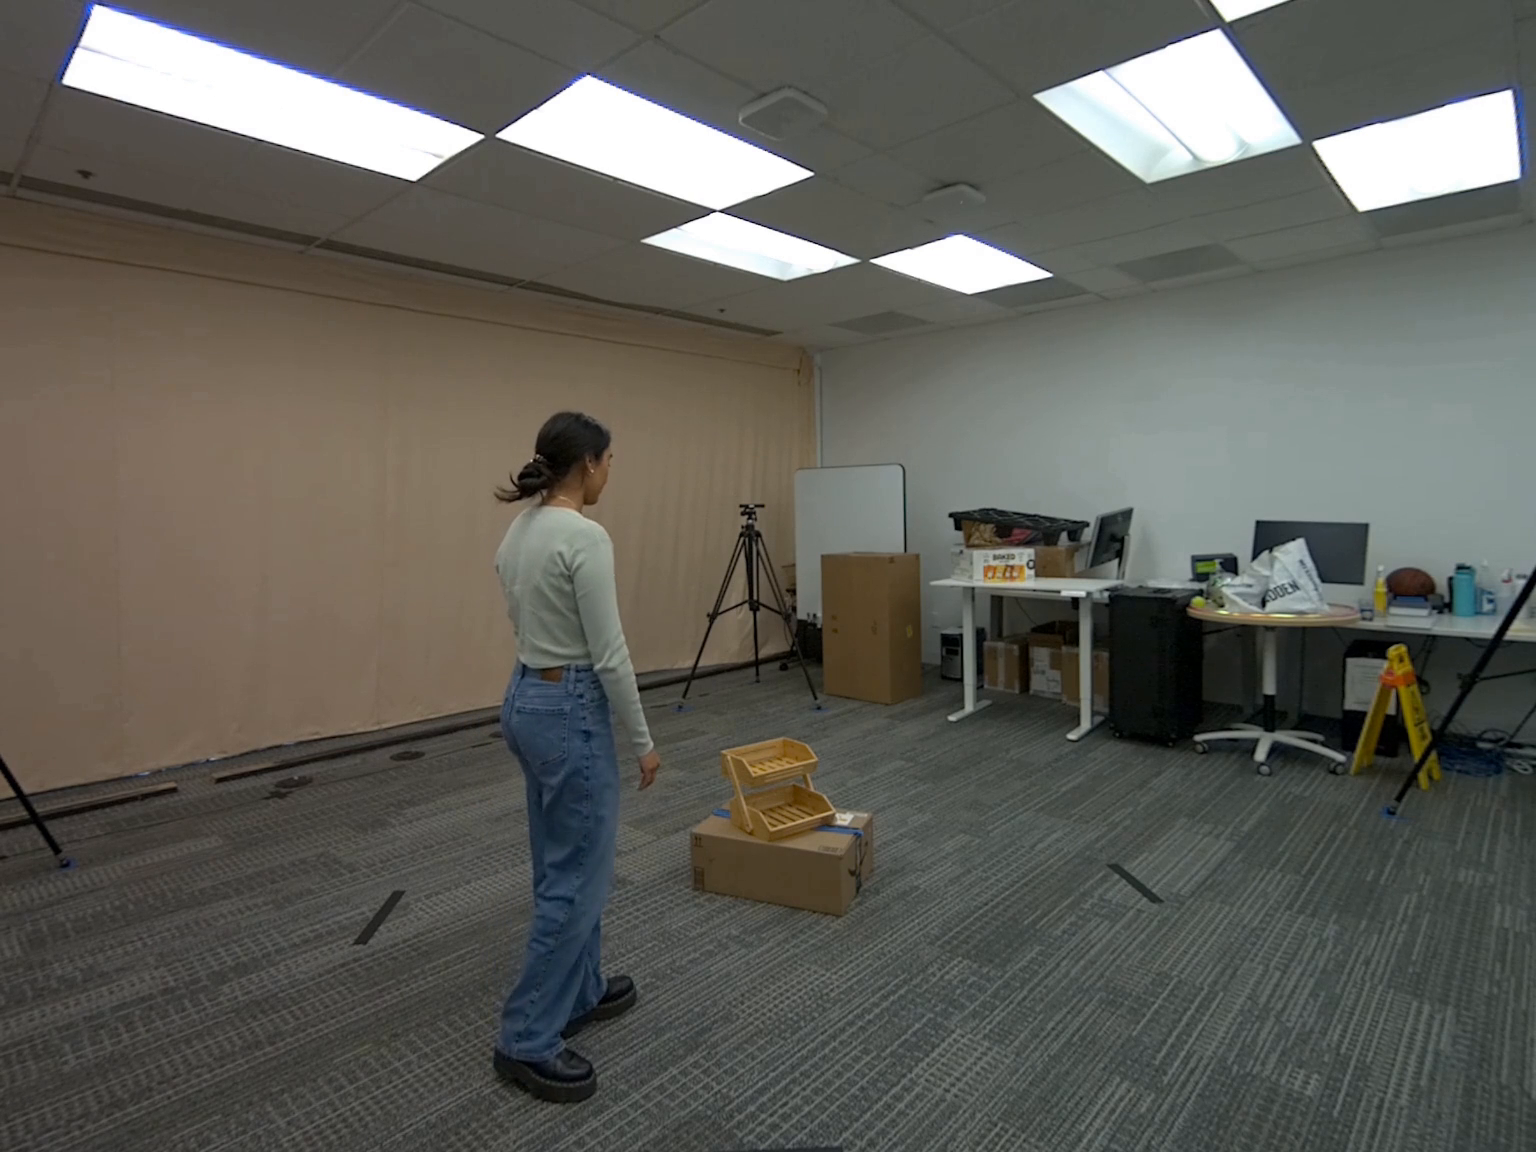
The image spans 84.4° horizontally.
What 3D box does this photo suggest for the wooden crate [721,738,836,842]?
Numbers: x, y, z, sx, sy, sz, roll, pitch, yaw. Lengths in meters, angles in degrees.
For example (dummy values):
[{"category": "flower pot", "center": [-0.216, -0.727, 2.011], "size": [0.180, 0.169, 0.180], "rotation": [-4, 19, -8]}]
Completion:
[{"category": "wooden crate", "center": [0.041, 0.779, 3.120], "size": [0.315, 0.273, 0.311], "rotation": [-4, 4, -35]}]
